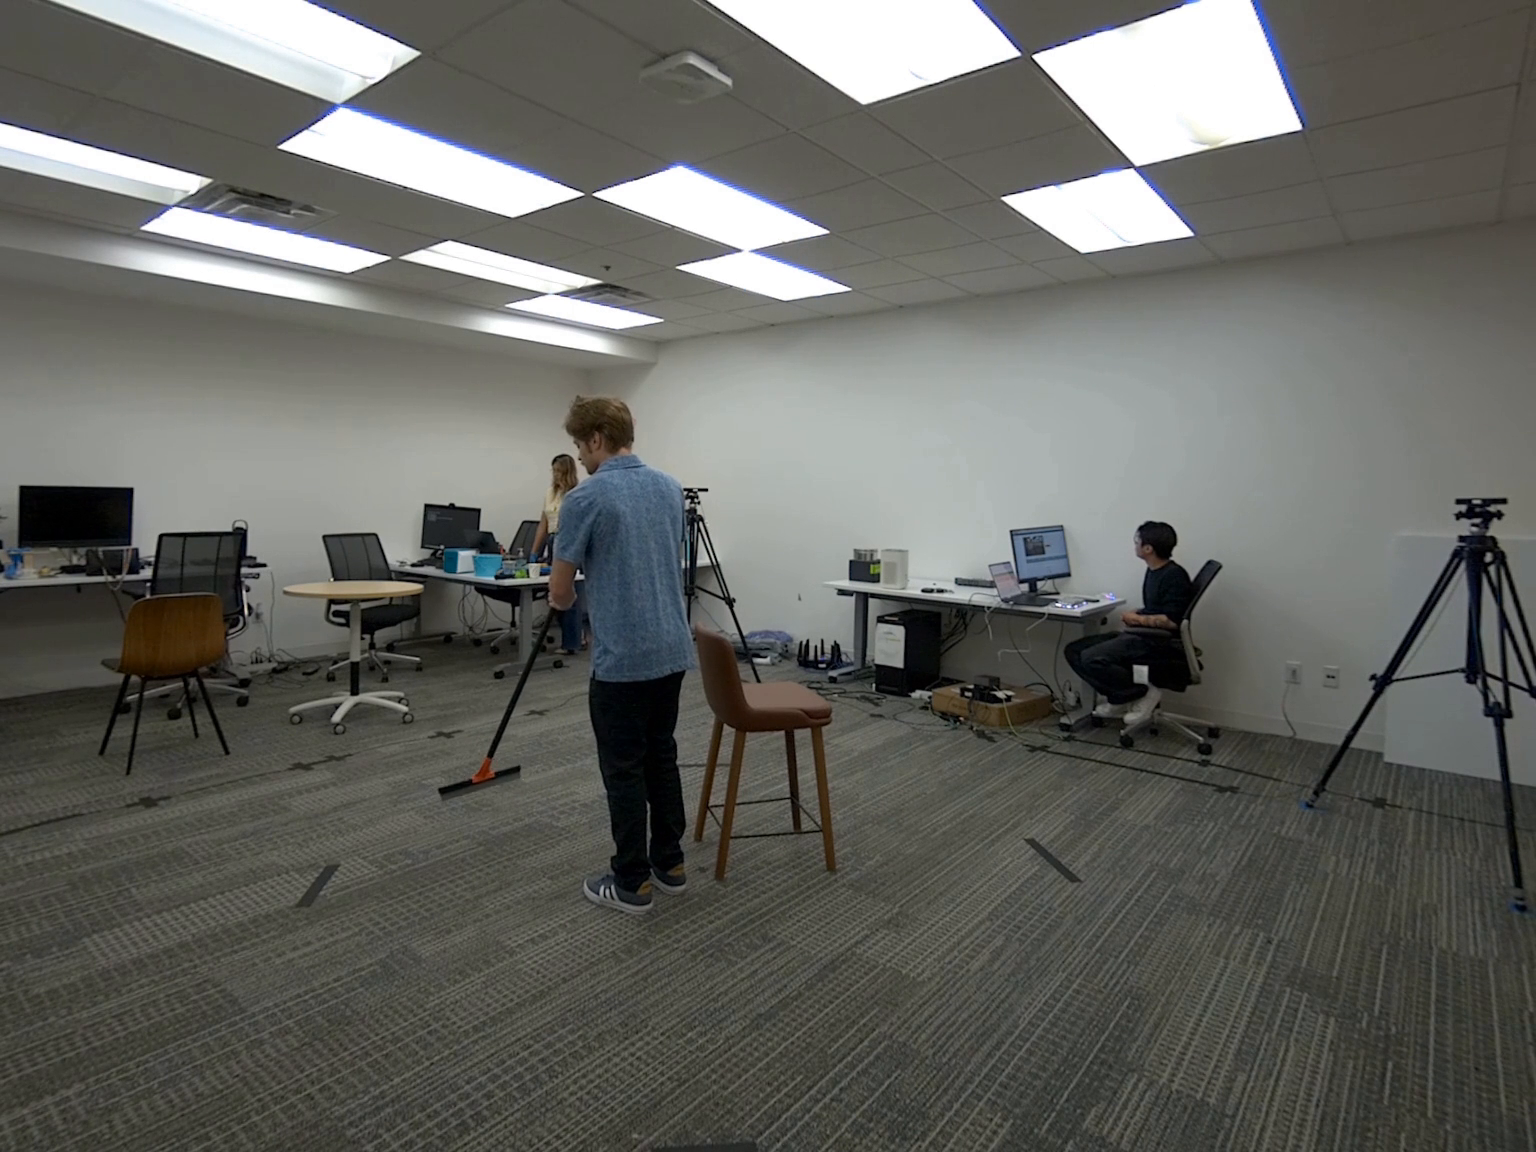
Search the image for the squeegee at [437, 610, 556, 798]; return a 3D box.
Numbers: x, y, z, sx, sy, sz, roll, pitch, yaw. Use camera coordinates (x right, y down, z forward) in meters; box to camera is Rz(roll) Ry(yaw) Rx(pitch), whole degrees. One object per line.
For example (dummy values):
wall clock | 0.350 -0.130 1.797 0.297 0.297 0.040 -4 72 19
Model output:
squeegee | -0.855 0.144 3.170 0.054 1.530 0.426 27 10 22
